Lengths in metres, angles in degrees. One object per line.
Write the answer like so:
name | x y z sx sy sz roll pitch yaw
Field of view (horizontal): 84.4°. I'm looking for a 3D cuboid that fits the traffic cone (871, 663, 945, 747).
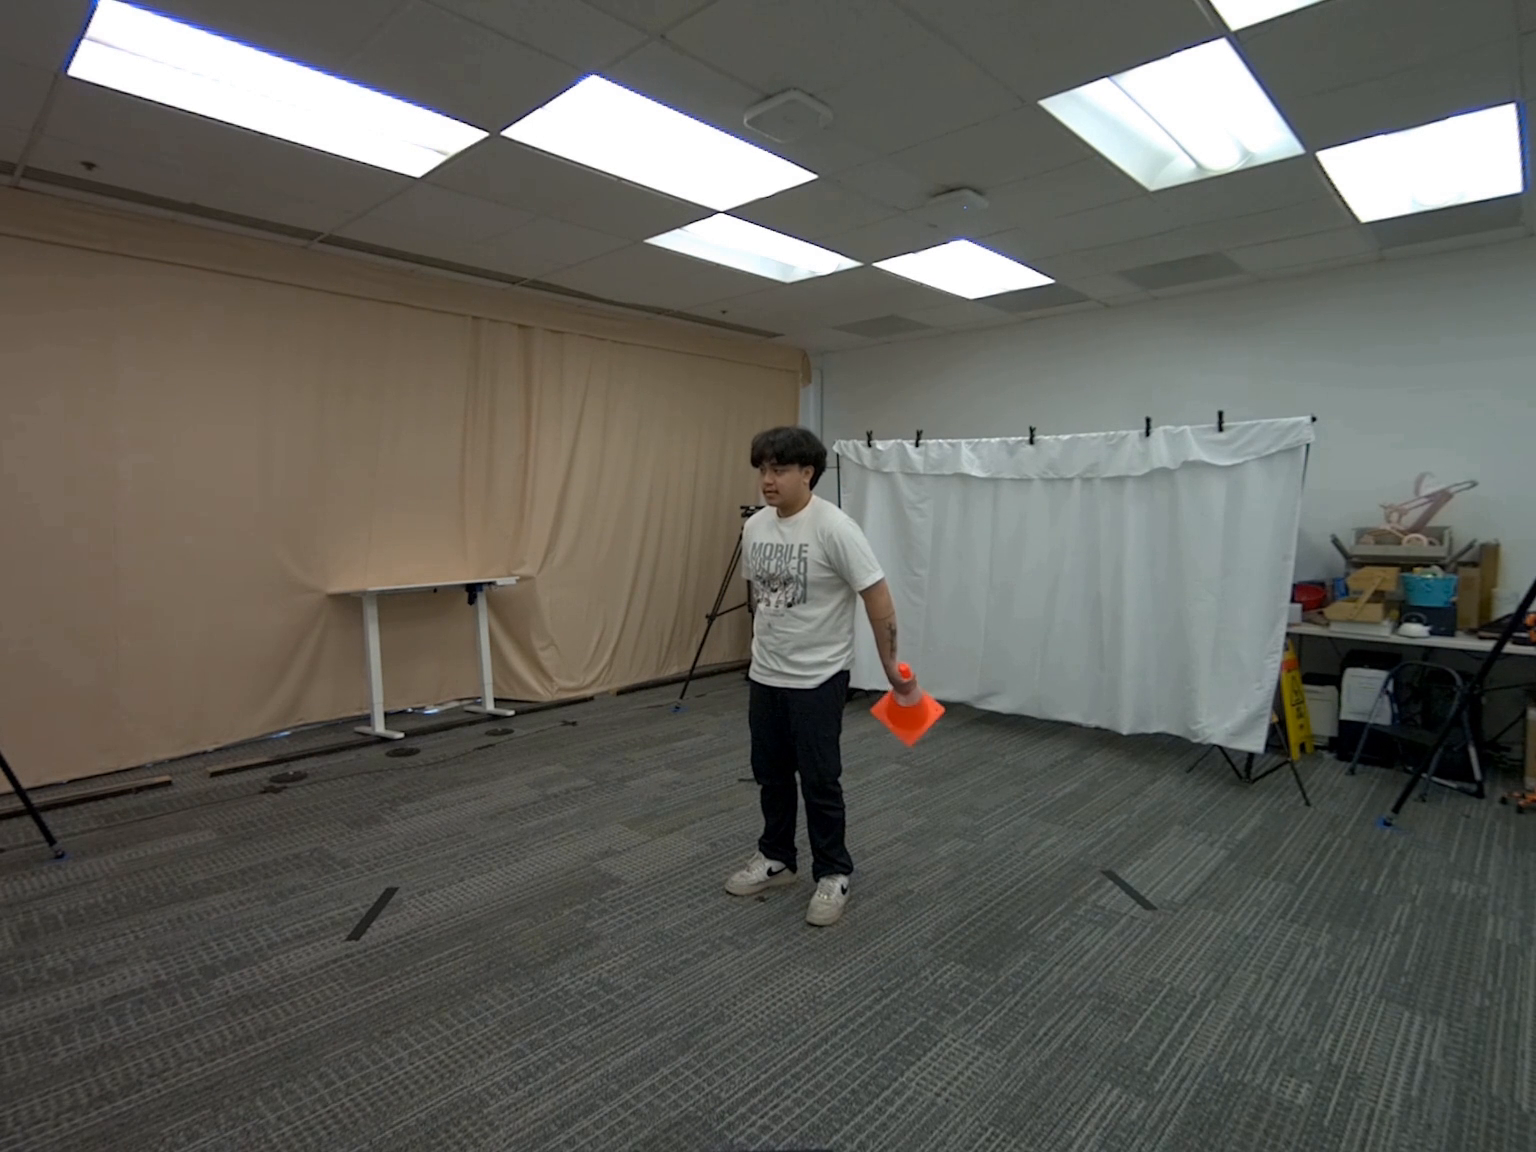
traffic cone | 0.483 0.406 2.974 0.204 0.210 0.373 -29 -35 -7
